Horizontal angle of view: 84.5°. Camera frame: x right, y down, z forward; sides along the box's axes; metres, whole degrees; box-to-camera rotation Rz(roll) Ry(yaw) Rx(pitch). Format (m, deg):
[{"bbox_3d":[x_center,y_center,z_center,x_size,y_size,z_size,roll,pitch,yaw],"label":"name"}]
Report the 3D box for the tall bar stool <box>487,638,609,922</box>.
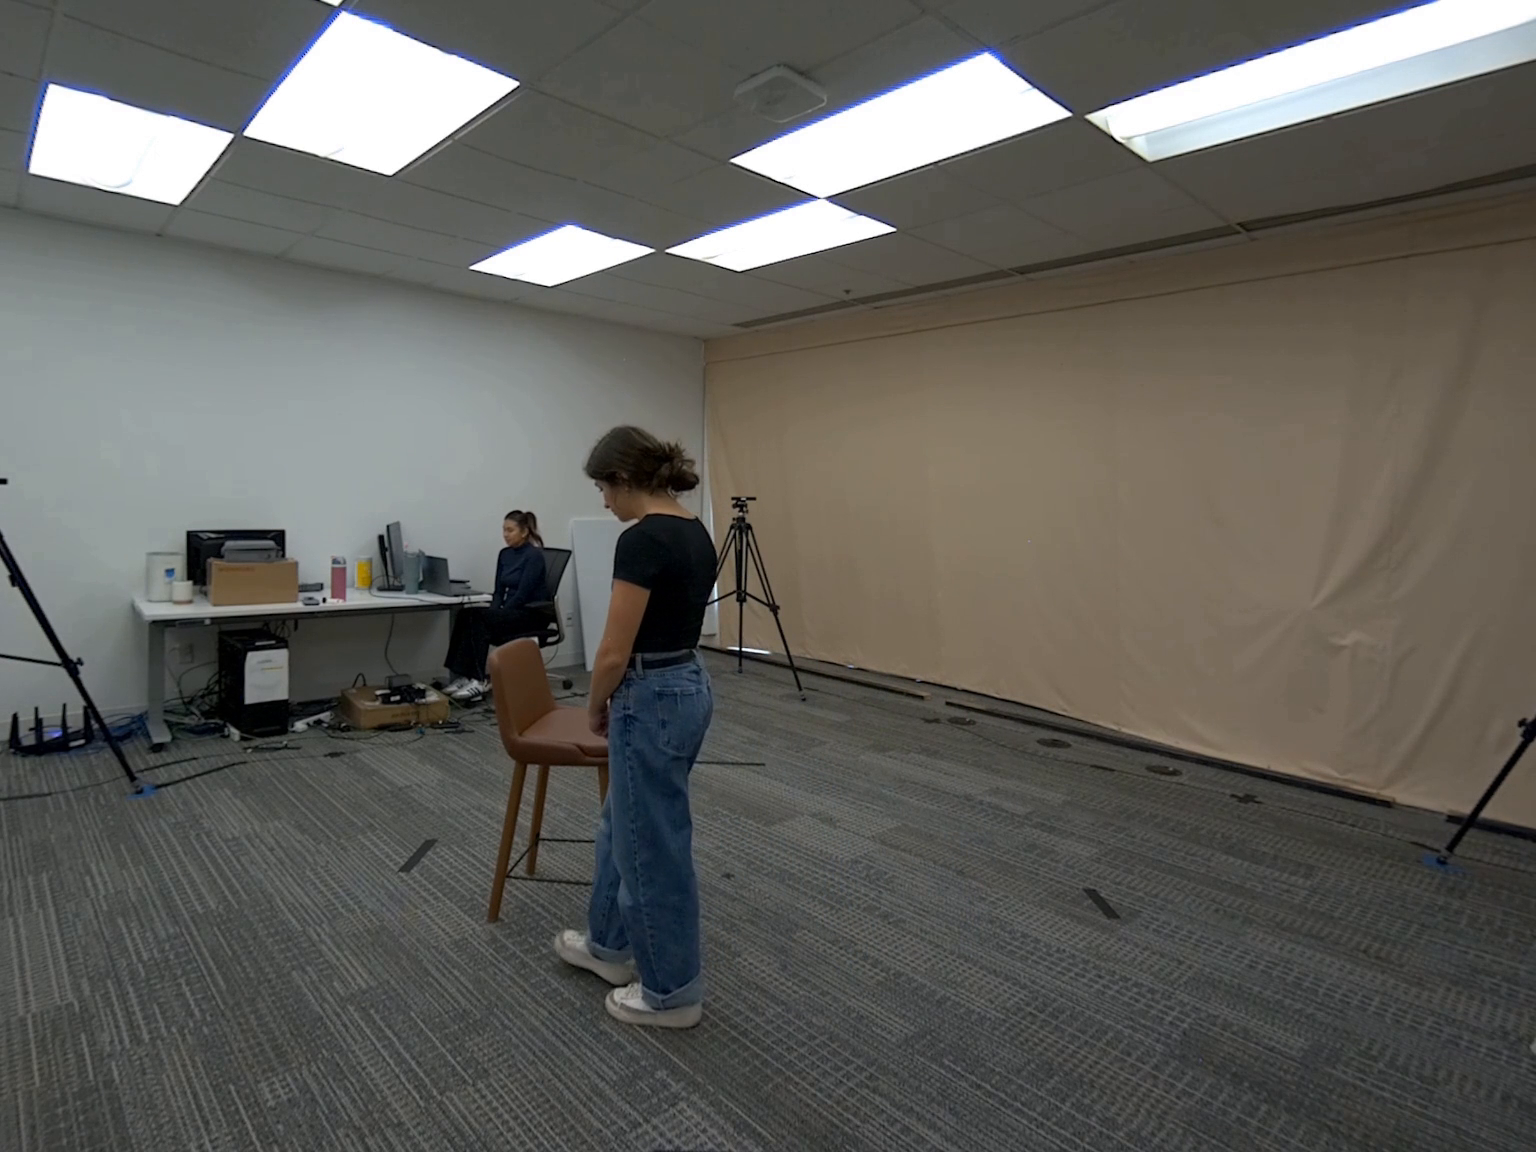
[{"bbox_3d":[-0.681,0.681,2.868,0.470,0.887,0.455,0,3,6],"label":"tall bar stool"}]
